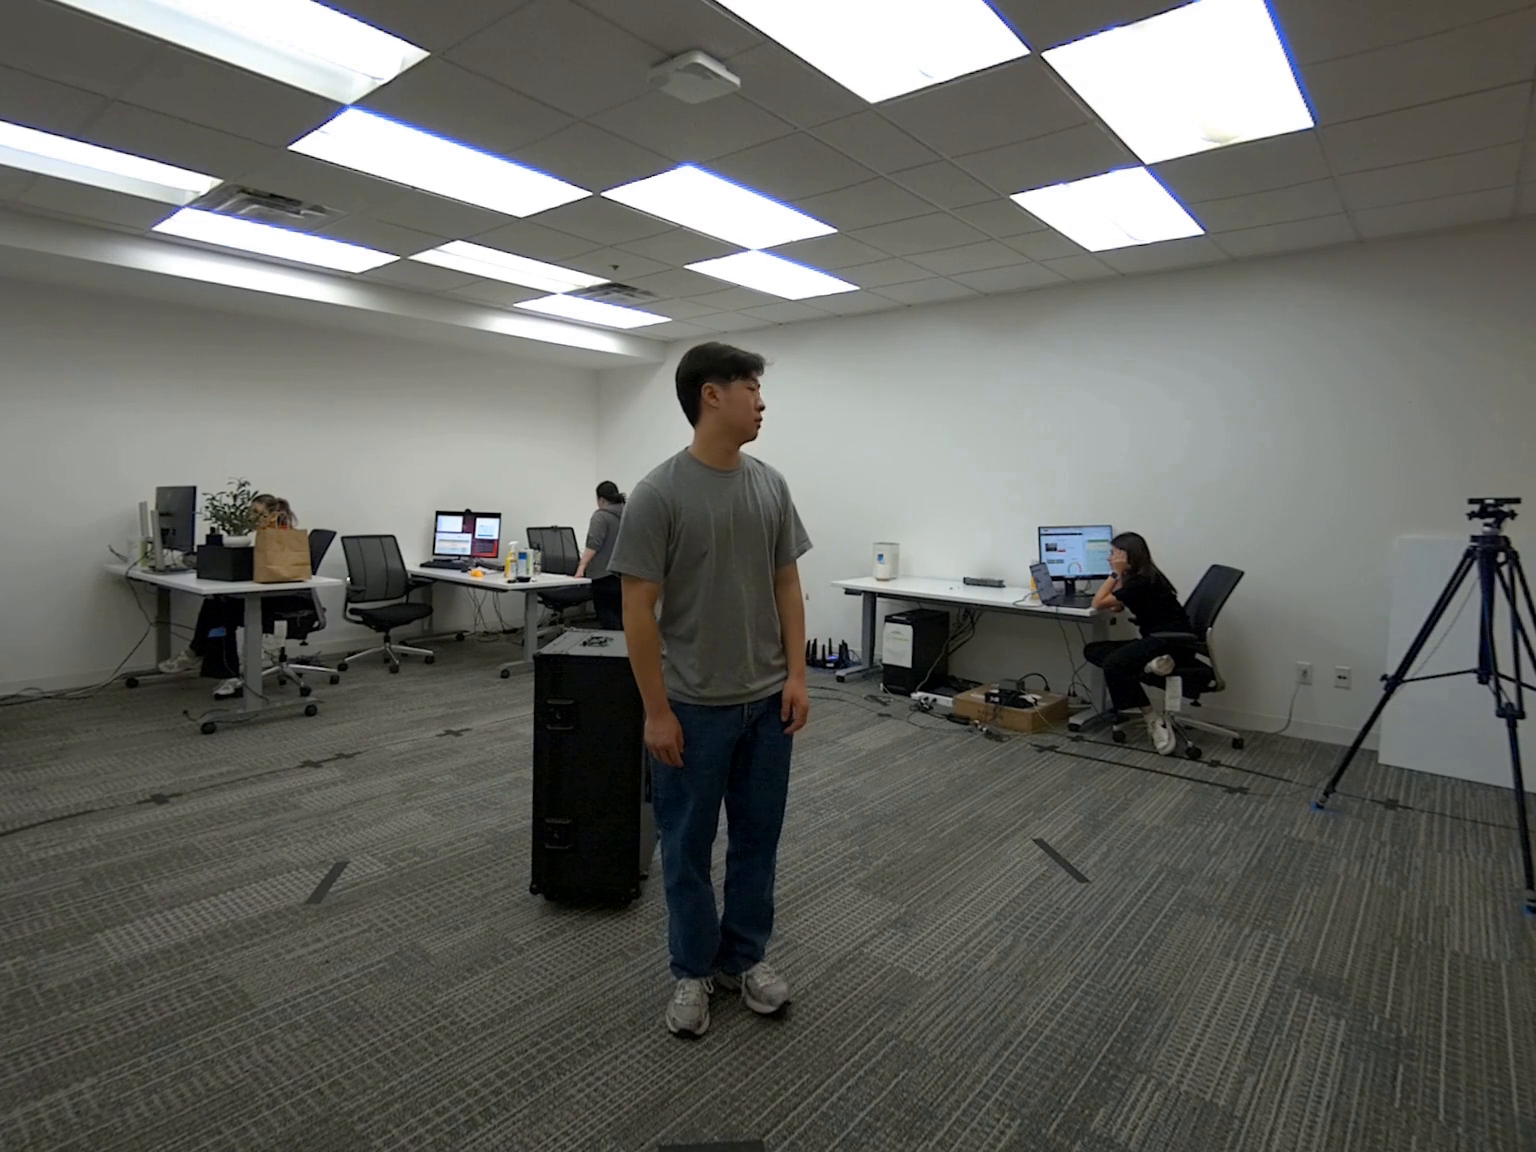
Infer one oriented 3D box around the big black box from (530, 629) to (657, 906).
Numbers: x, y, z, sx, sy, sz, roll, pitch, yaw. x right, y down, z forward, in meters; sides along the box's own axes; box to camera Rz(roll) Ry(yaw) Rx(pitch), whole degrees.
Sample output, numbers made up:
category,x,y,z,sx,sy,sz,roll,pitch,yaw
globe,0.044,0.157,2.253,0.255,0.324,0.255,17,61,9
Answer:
category,x,y,z,sx,sy,sz,roll,pitch,yaw
big black box,-0.582,0.647,2.953,0.398,0.859,0.520,2,3,2
